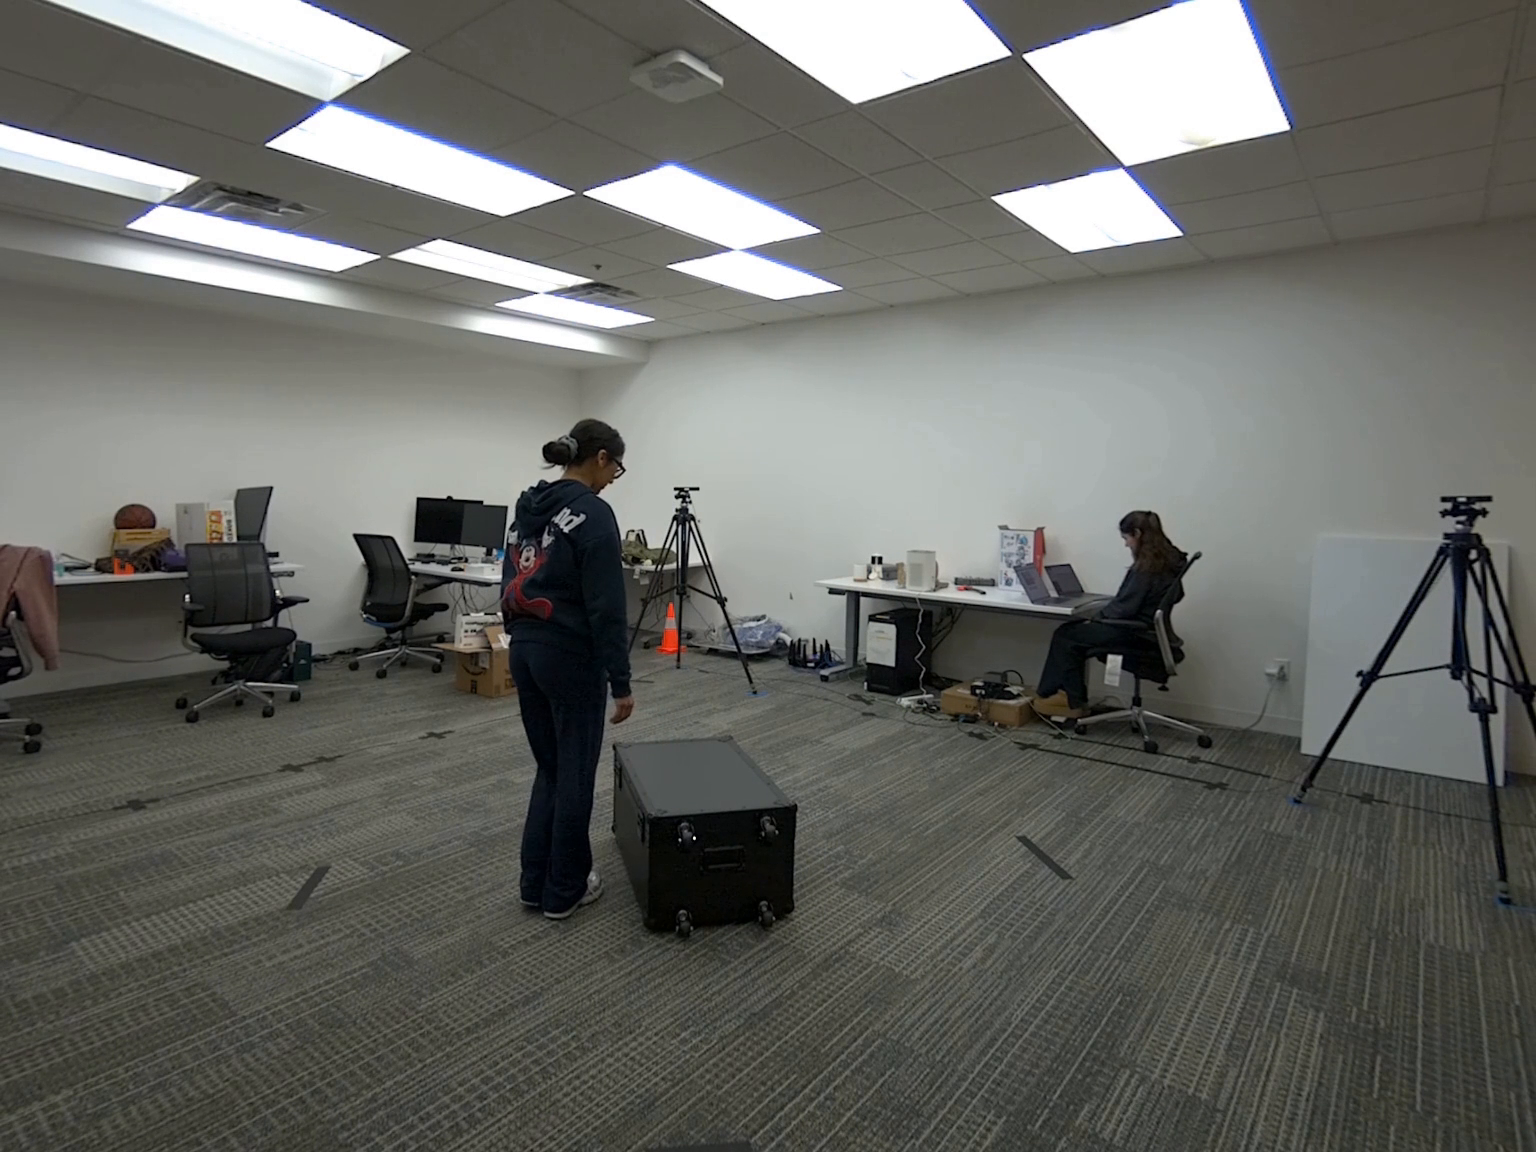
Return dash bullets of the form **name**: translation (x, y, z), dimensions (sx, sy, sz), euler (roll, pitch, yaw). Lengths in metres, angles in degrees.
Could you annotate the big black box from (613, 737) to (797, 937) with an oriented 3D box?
- **big black box**: translation (-0.264, 0.885, 3.017), dimensions (0.512, 0.395, 0.880), euler (0, 5, -18)
